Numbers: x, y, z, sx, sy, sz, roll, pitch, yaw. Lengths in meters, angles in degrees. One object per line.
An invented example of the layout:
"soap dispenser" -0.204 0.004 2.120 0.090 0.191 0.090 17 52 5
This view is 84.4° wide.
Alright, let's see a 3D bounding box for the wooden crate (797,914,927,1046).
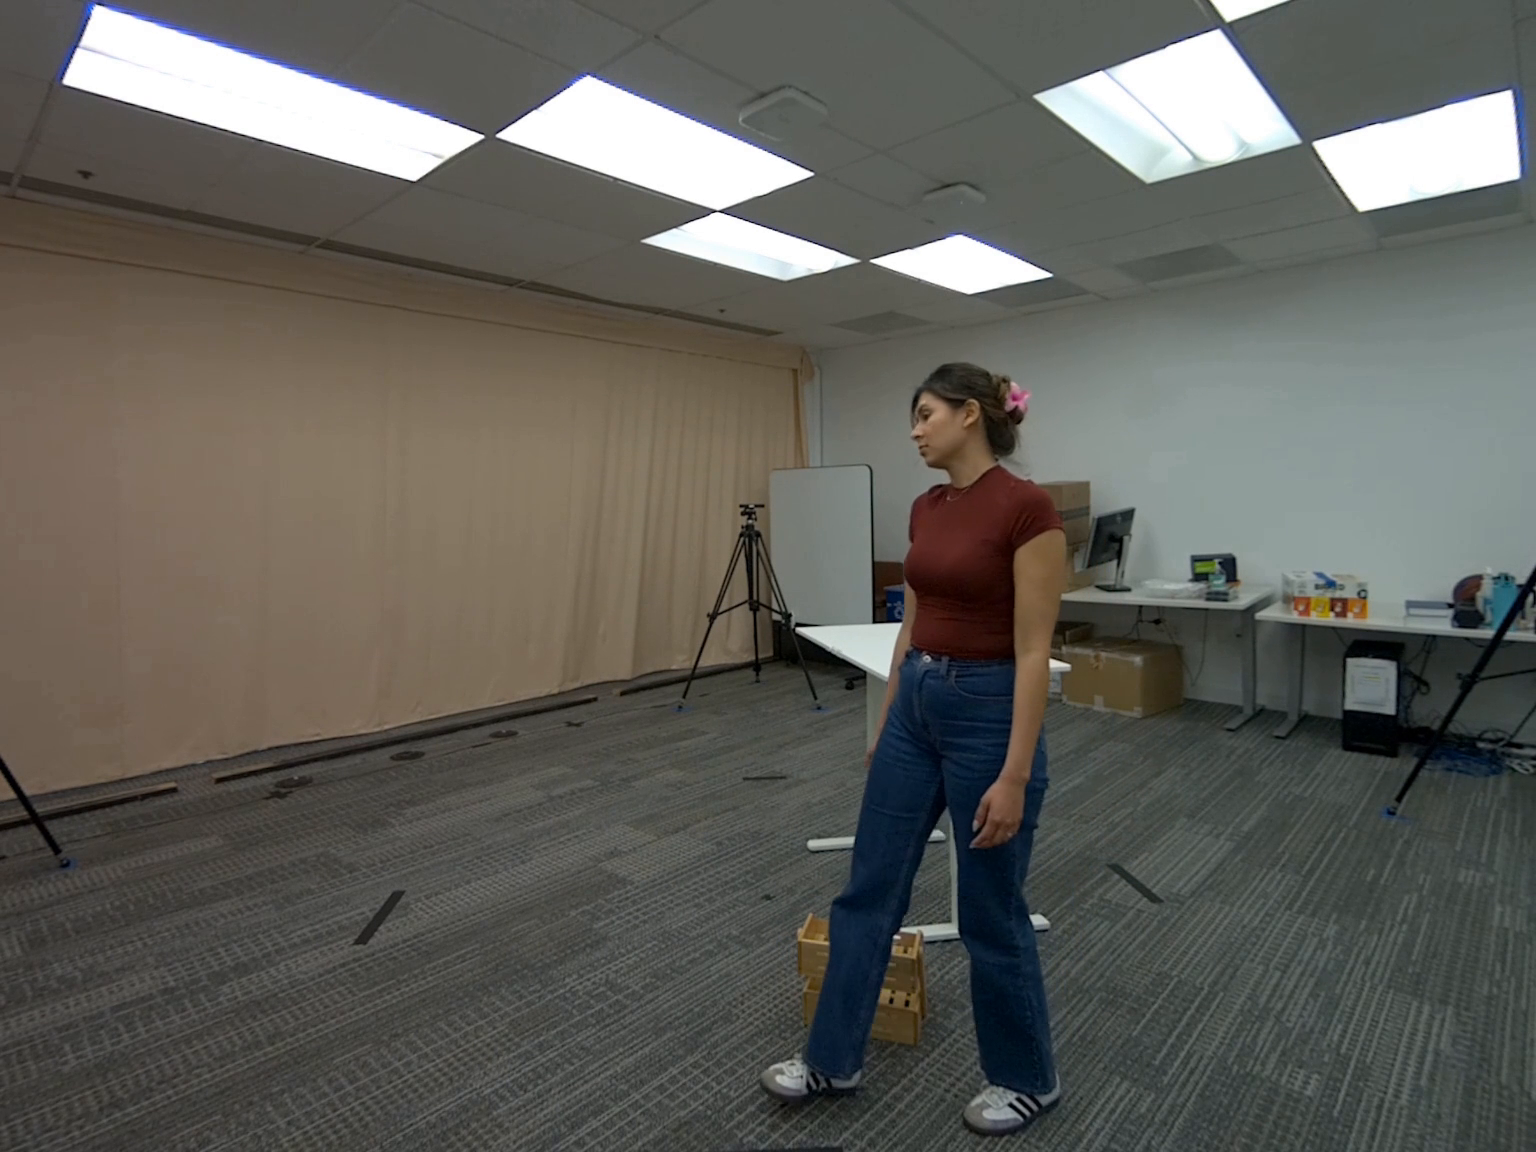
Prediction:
"wooden crate" 0.268 1.061 2.285 0.330 0.272 0.297 1 5 17
